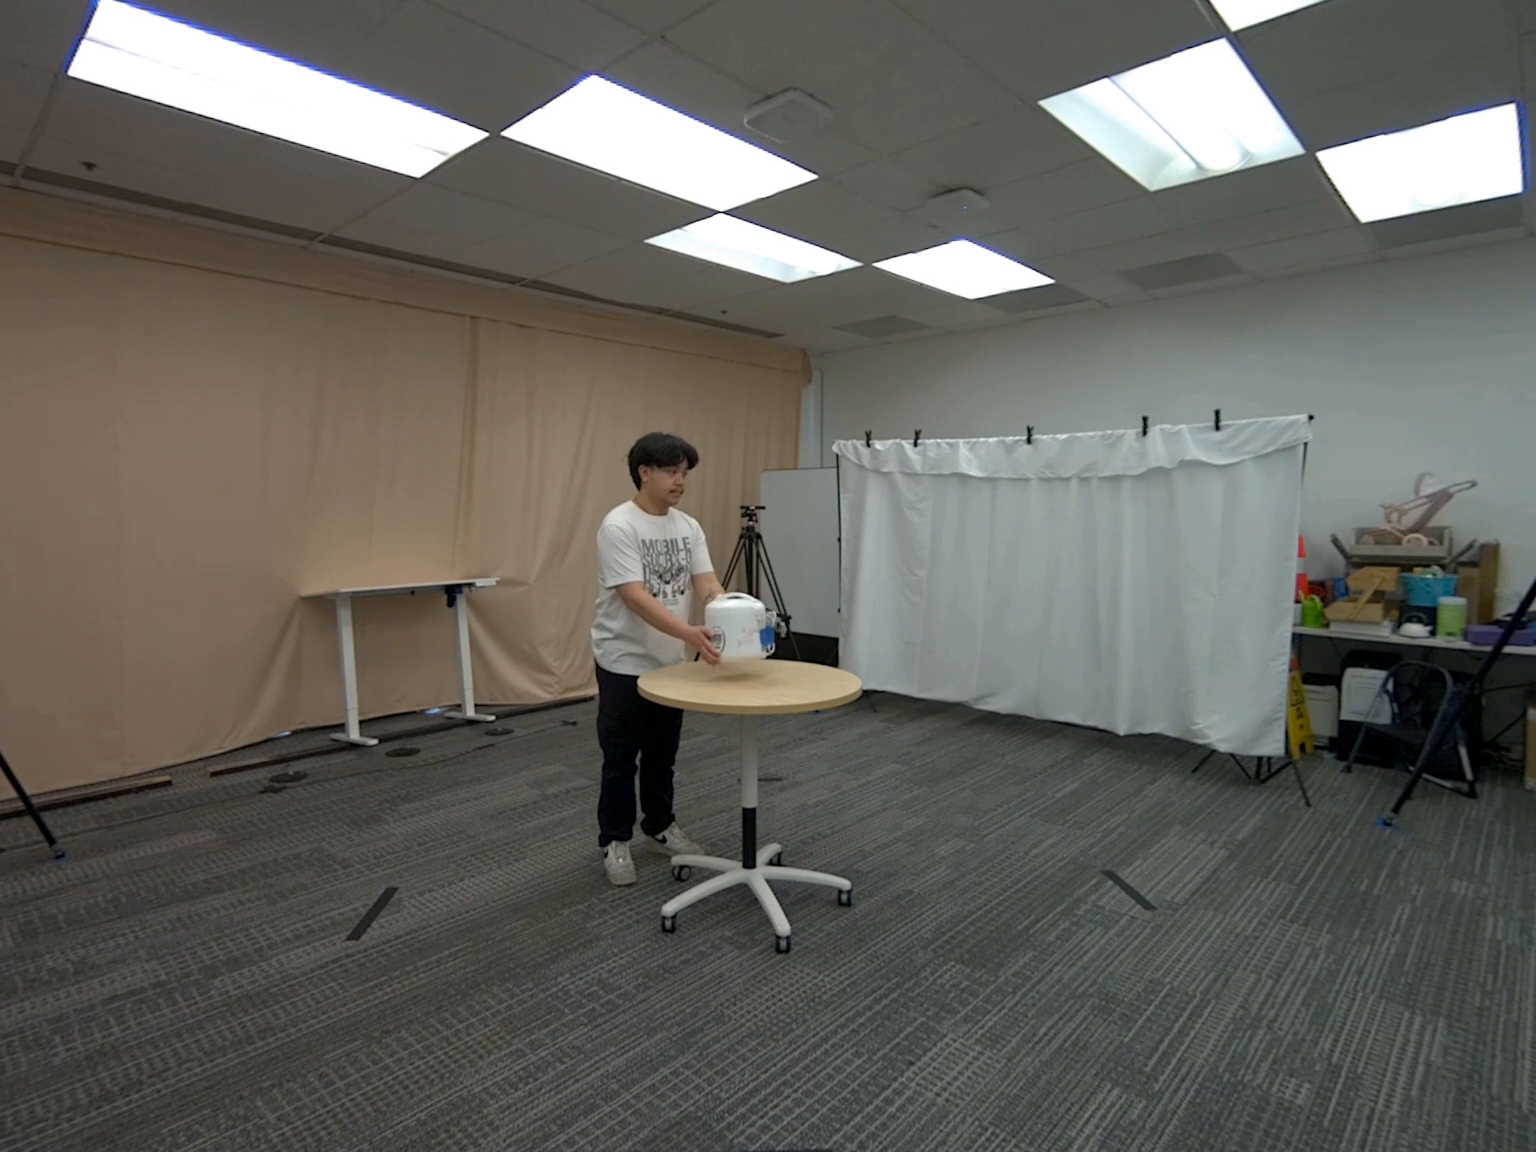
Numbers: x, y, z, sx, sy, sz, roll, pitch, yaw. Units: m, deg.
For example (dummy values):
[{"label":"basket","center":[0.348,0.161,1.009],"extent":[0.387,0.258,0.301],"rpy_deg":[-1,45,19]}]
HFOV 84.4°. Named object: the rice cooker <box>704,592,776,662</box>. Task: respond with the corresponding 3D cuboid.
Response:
[{"label":"rice cooker","center":[-0.101,0.174,2.884],"extent":[0.227,0.233,0.211],"rpy_deg":[-5,-2,34]}]
